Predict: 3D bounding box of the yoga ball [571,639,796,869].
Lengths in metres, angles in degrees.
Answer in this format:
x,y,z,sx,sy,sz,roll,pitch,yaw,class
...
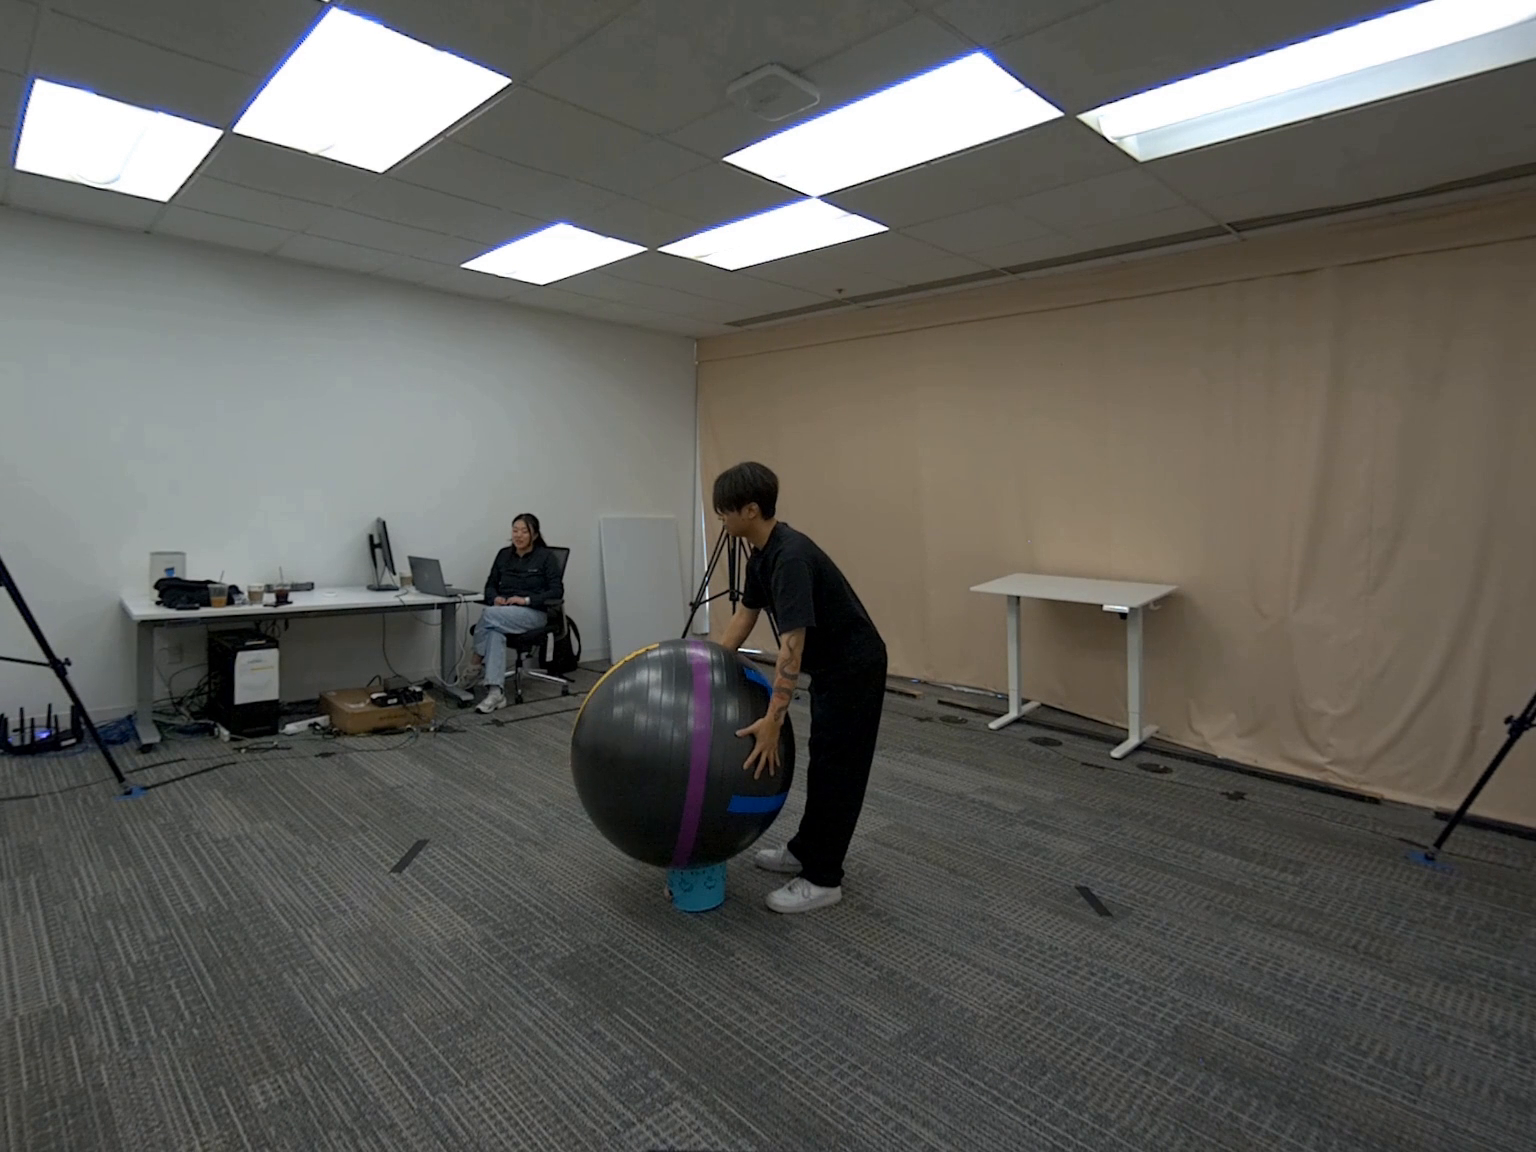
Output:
x,y,z,sx,sy,sz,roll,pitch,yaw,class
-0.289,0.604,2.881,0.757,0.756,0.761,1,4,-1,yoga ball
